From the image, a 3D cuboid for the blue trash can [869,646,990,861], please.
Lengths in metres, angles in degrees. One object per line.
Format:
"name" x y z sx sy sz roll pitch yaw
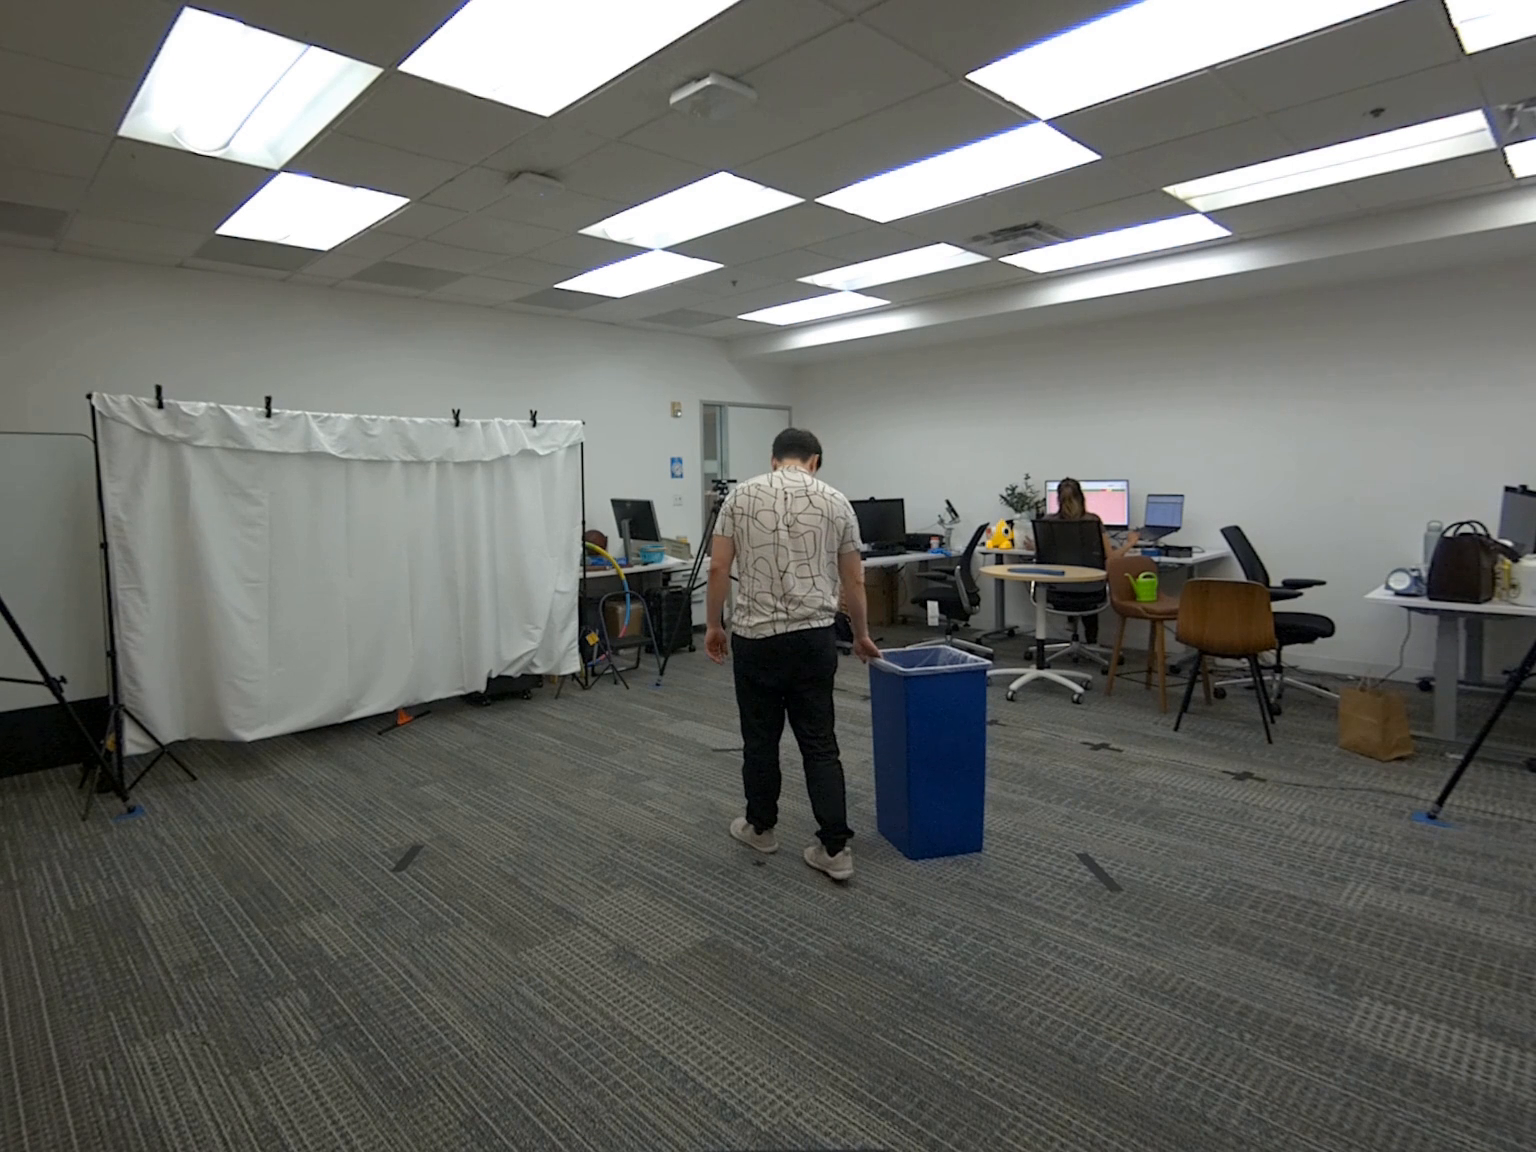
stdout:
"blue trash can" 0.607 0.662 3.265 0.369 0.711 0.384 -2 3 -16
